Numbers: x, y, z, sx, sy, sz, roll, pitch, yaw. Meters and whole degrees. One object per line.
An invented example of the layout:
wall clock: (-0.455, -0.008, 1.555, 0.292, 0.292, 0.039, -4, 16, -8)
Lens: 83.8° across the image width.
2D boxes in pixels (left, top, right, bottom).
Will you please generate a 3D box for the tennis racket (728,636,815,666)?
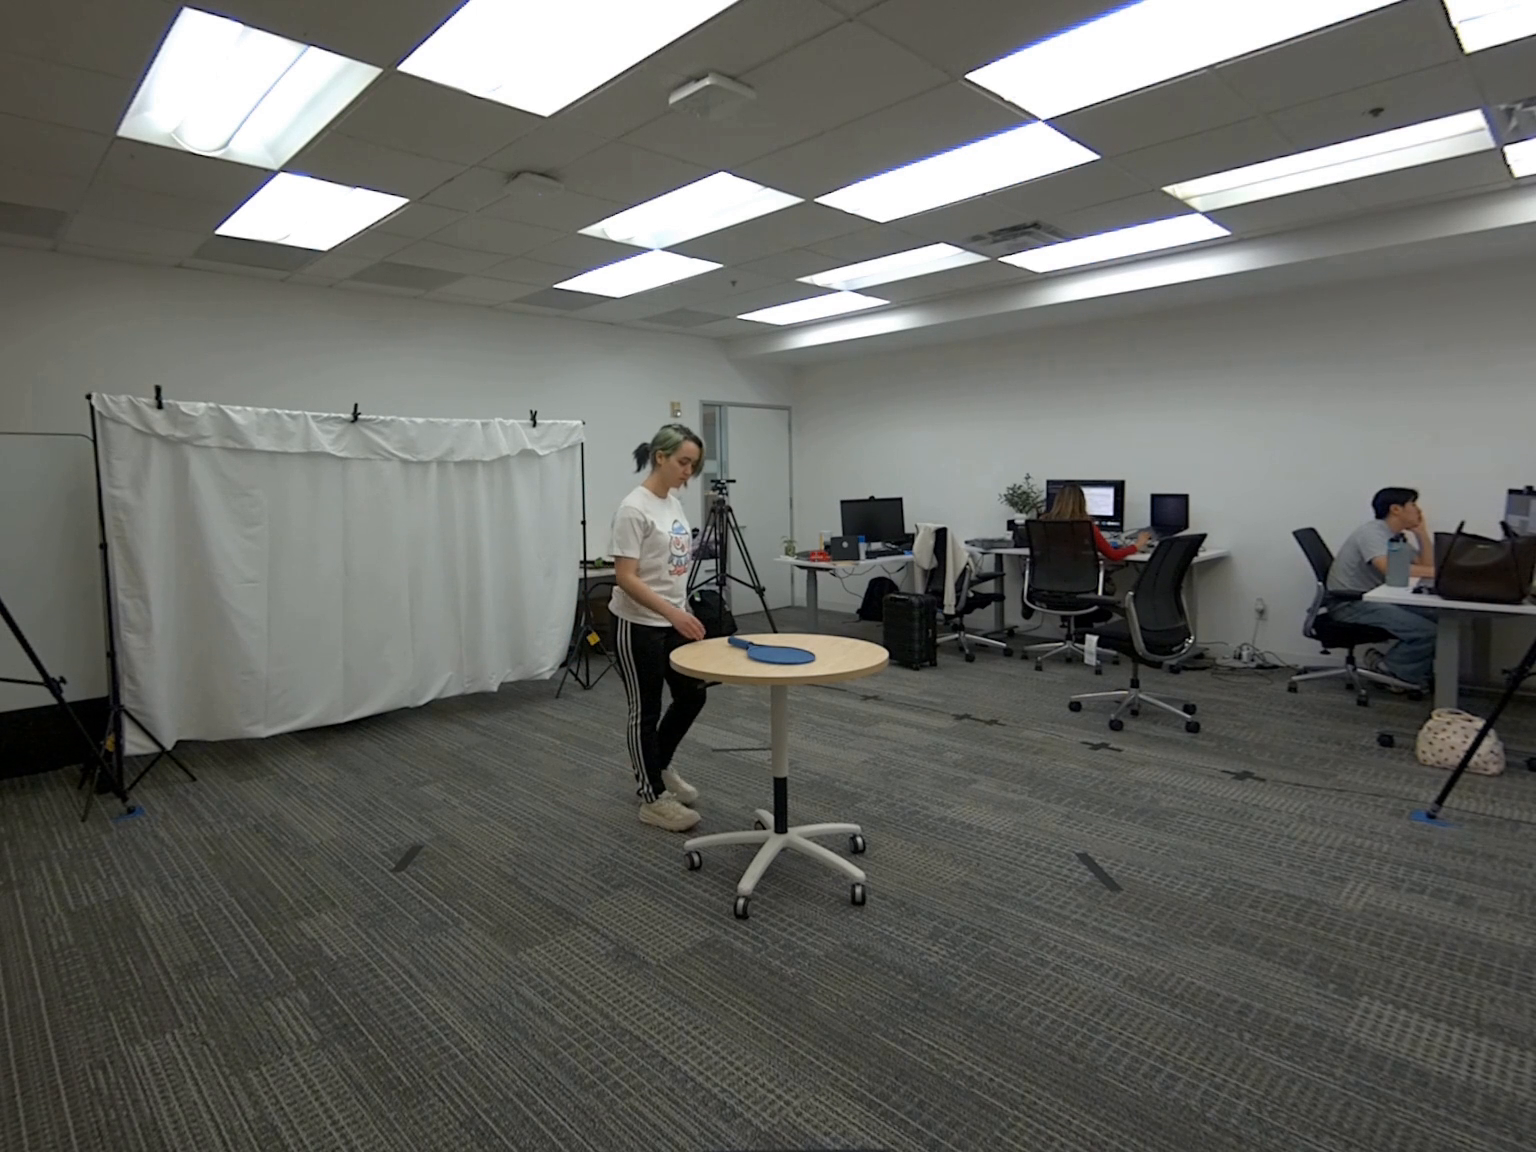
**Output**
tennis racket: (-0.004, 0.268, 2.989, 0.208, 0.031, 0.446, -4, 8, -32)
